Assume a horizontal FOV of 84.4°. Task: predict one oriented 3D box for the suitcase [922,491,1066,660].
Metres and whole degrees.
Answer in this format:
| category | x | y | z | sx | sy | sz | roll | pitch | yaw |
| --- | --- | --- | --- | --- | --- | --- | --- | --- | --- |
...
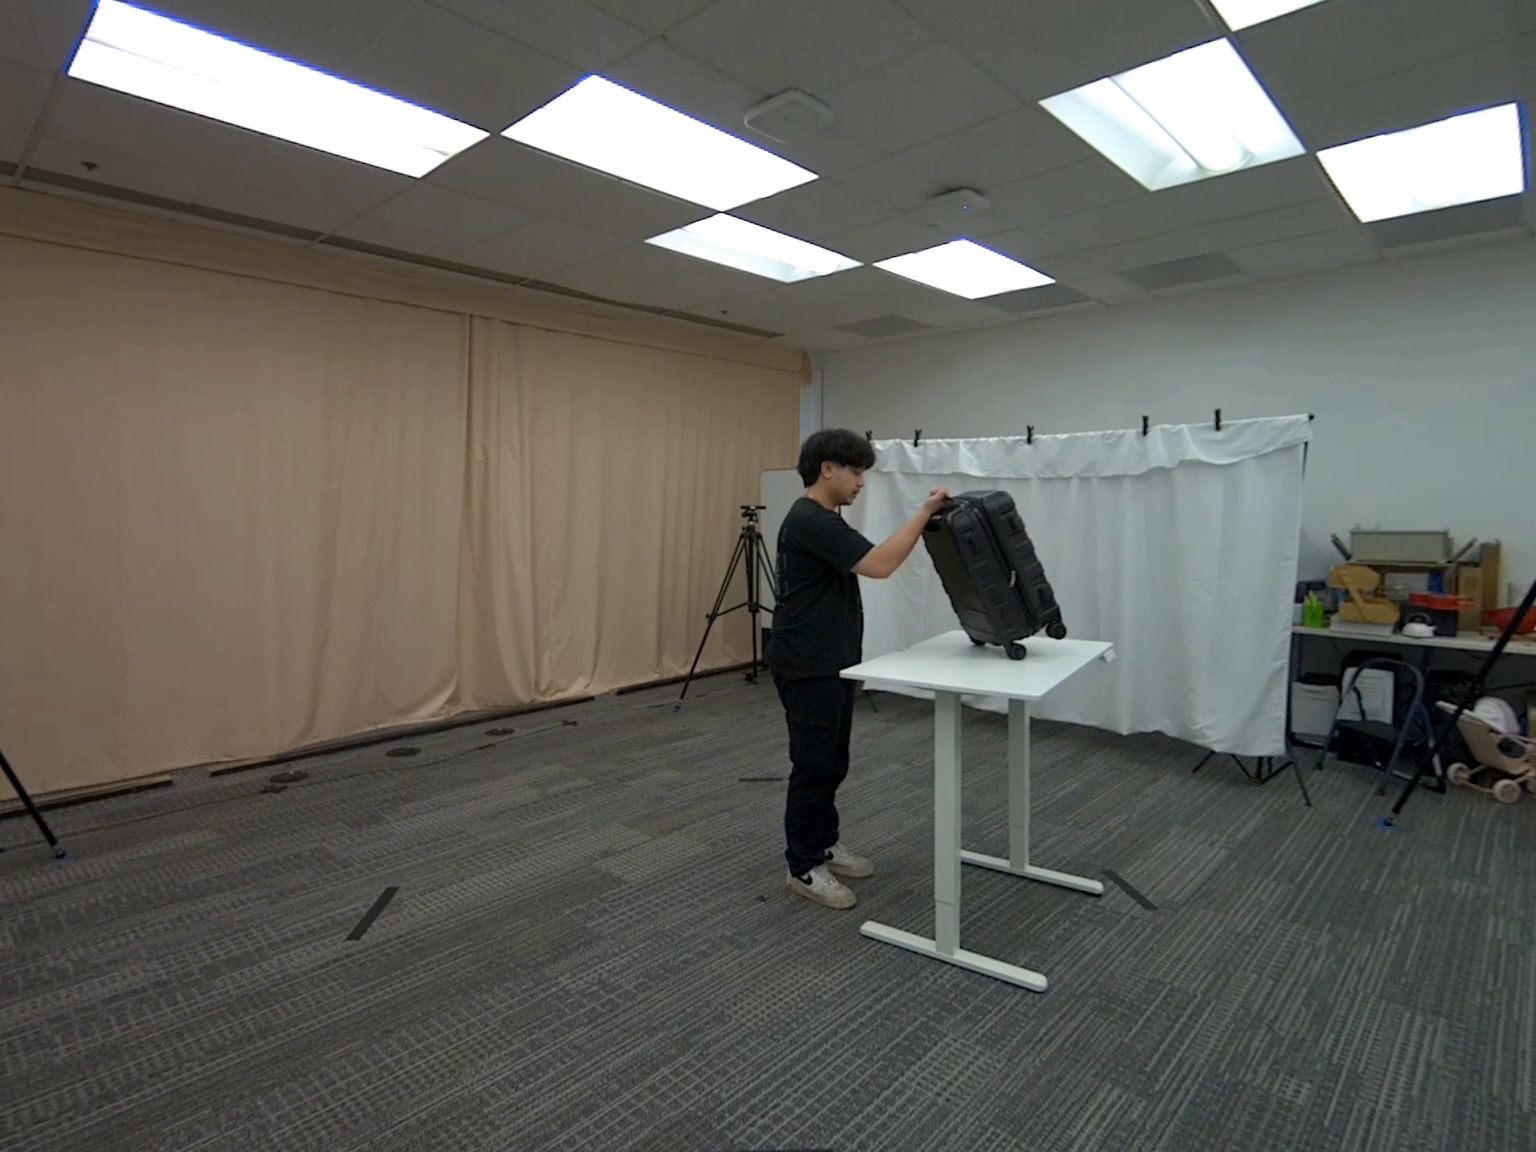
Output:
| category | x | y | z | sx | sy | sz | roll | pitch | yaw |
| --- | --- | --- | --- | --- | --- | --- | --- | --- | --- |
| suitcase | 0.757 | -0.017 | 2.892 | 0.247 | 0.546 | 0.380 | -24 | 6 | -8 |
